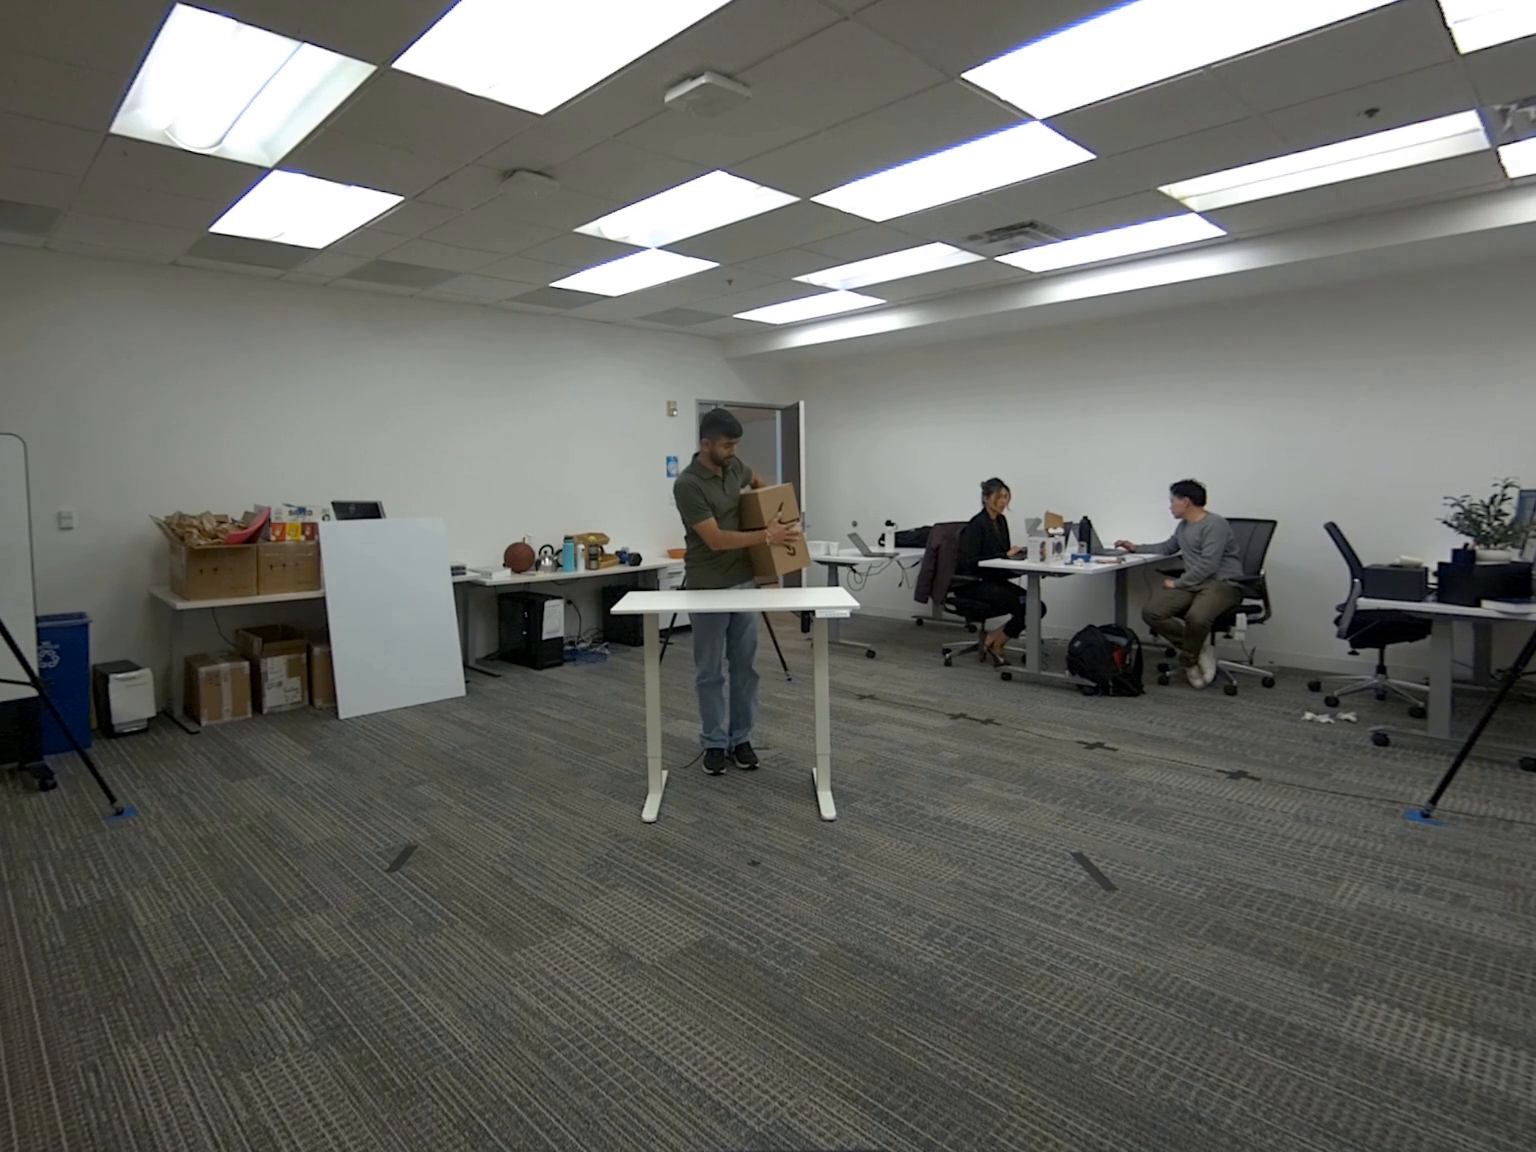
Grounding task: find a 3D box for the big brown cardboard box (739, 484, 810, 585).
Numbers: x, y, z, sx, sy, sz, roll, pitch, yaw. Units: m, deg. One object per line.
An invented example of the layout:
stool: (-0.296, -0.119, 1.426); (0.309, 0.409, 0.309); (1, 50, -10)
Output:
big brown cardboard box: (-0.067, -0.218, 4.347); (0.229, 0.415, 0.603); (-15, 7, -31)
